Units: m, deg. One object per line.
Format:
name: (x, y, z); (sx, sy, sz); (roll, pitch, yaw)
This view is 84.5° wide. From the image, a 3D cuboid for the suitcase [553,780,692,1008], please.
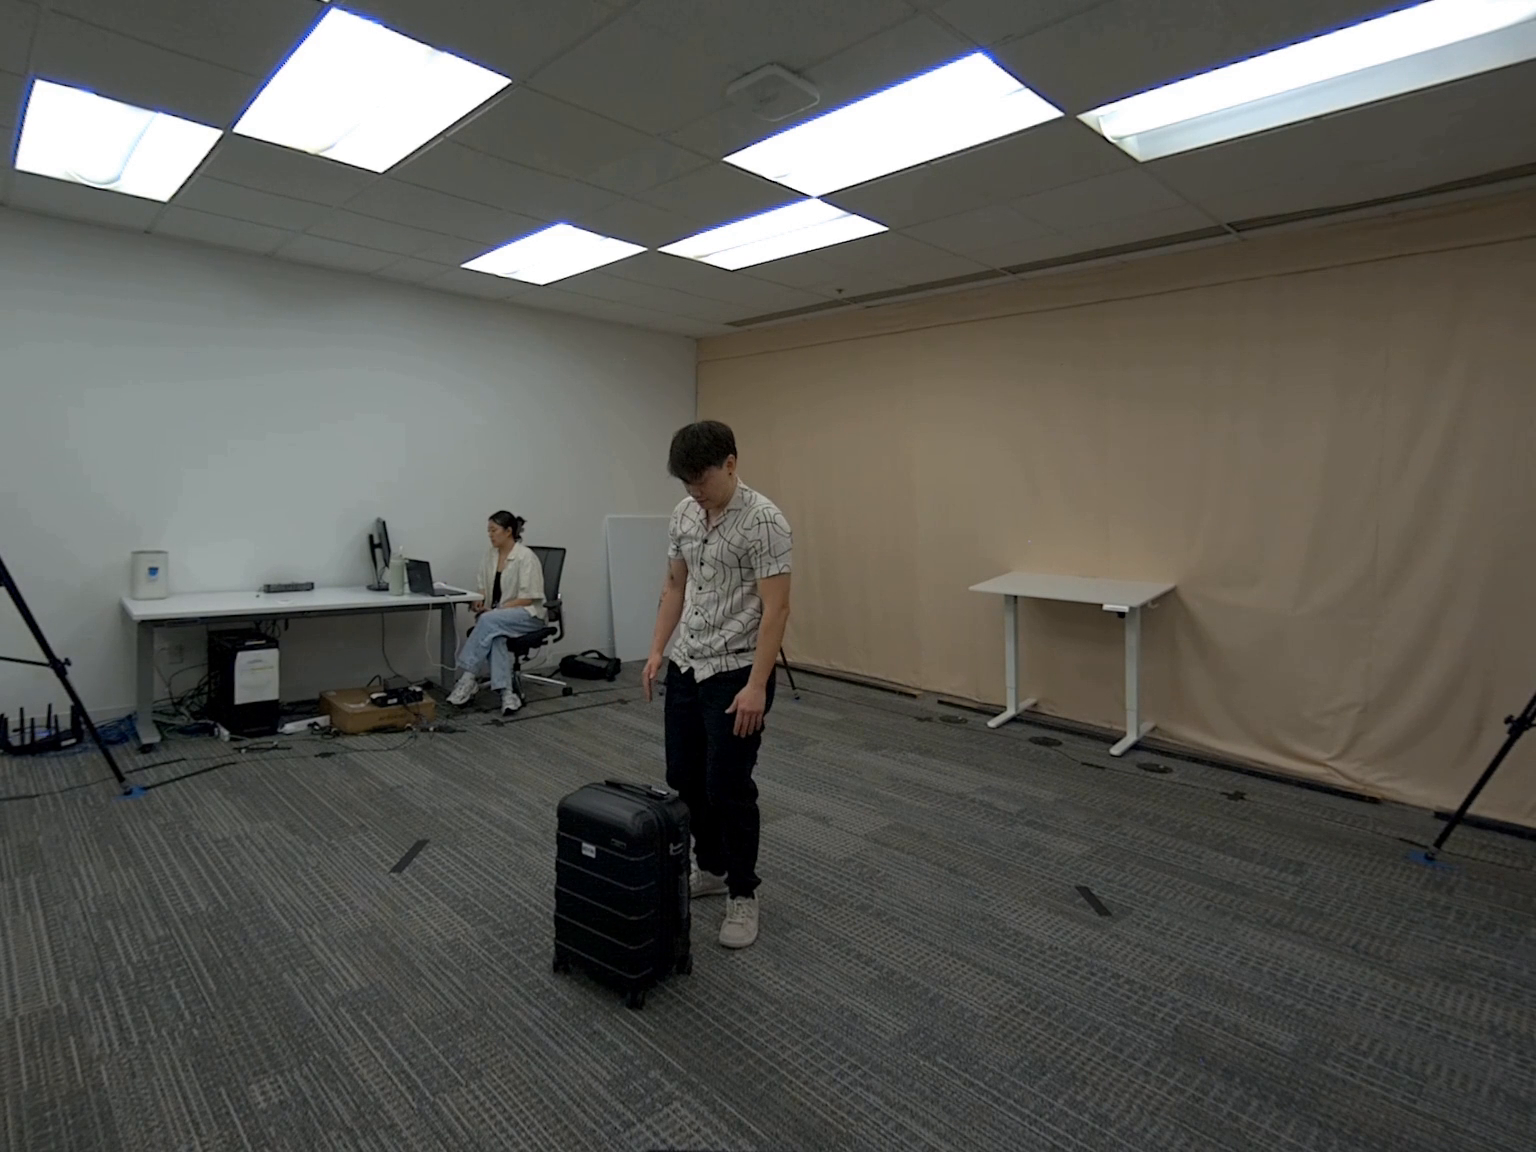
suitcase: (-0.427, 0.886, 2.419); (0.384, 0.547, 0.243); (5, 6, 37)
